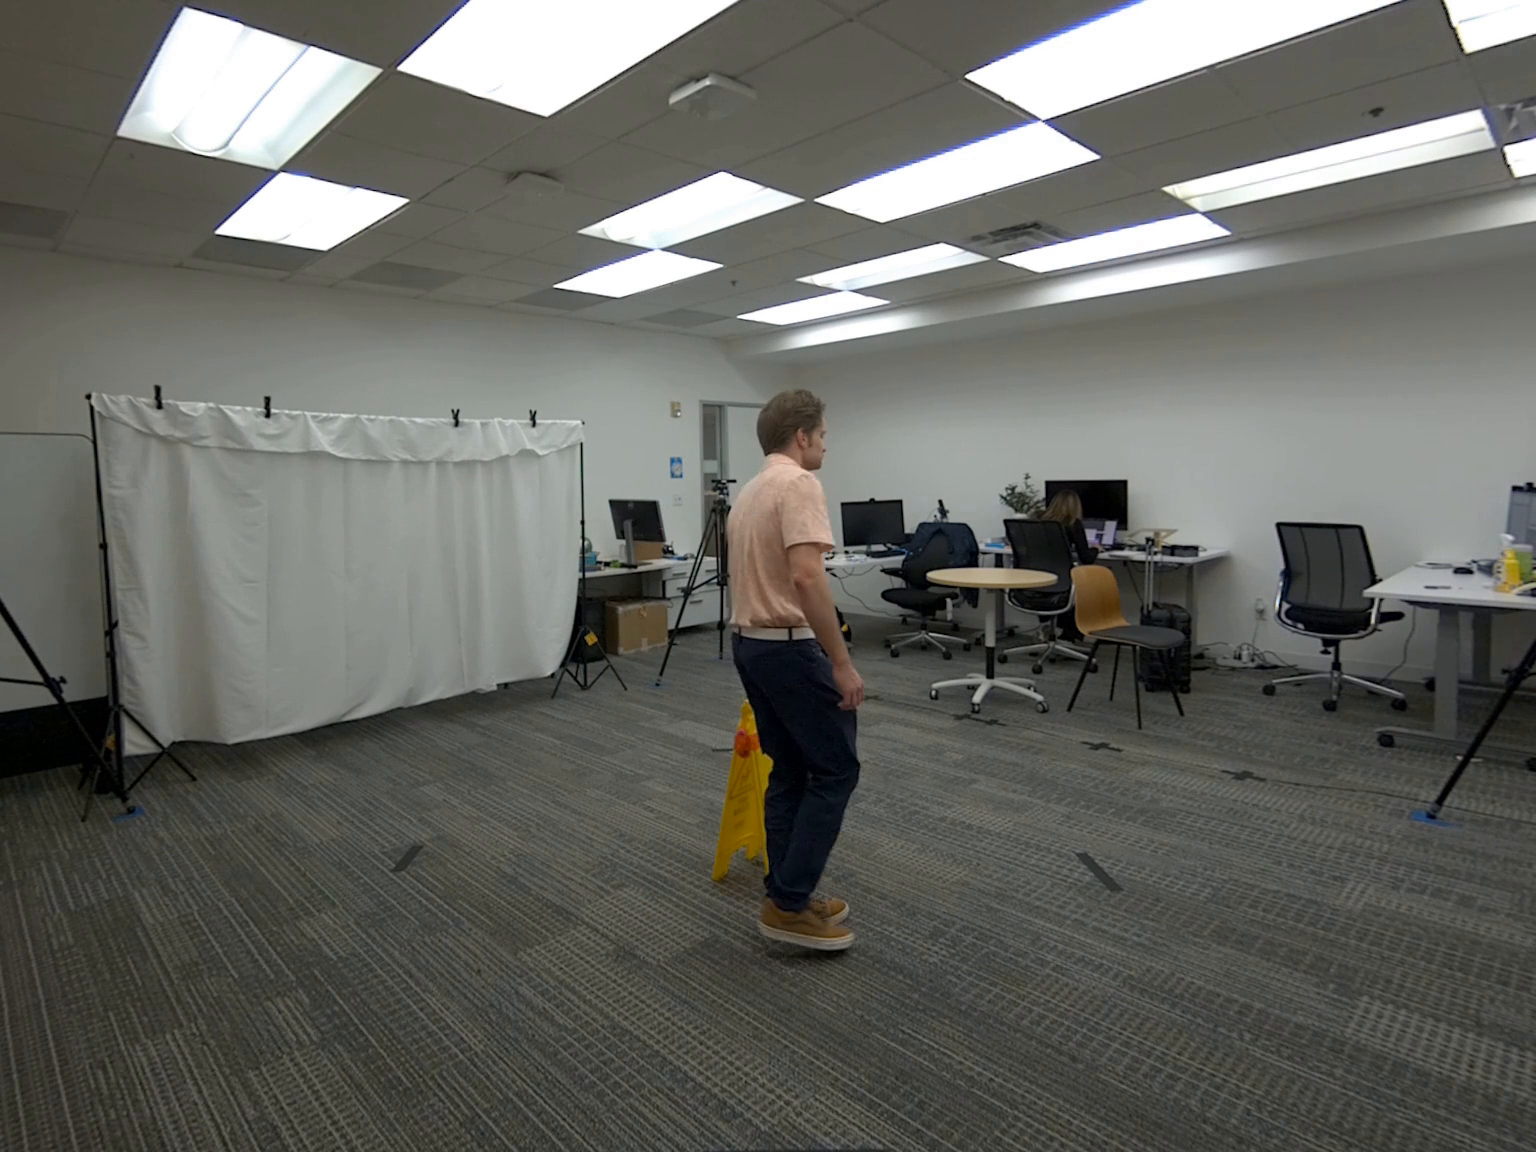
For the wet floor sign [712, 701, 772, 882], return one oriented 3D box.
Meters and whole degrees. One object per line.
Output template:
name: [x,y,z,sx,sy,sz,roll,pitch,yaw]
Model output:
wet floor sign: [-0.017,0.731,2.995,0.298,0.645,0.275,1,3,34]
